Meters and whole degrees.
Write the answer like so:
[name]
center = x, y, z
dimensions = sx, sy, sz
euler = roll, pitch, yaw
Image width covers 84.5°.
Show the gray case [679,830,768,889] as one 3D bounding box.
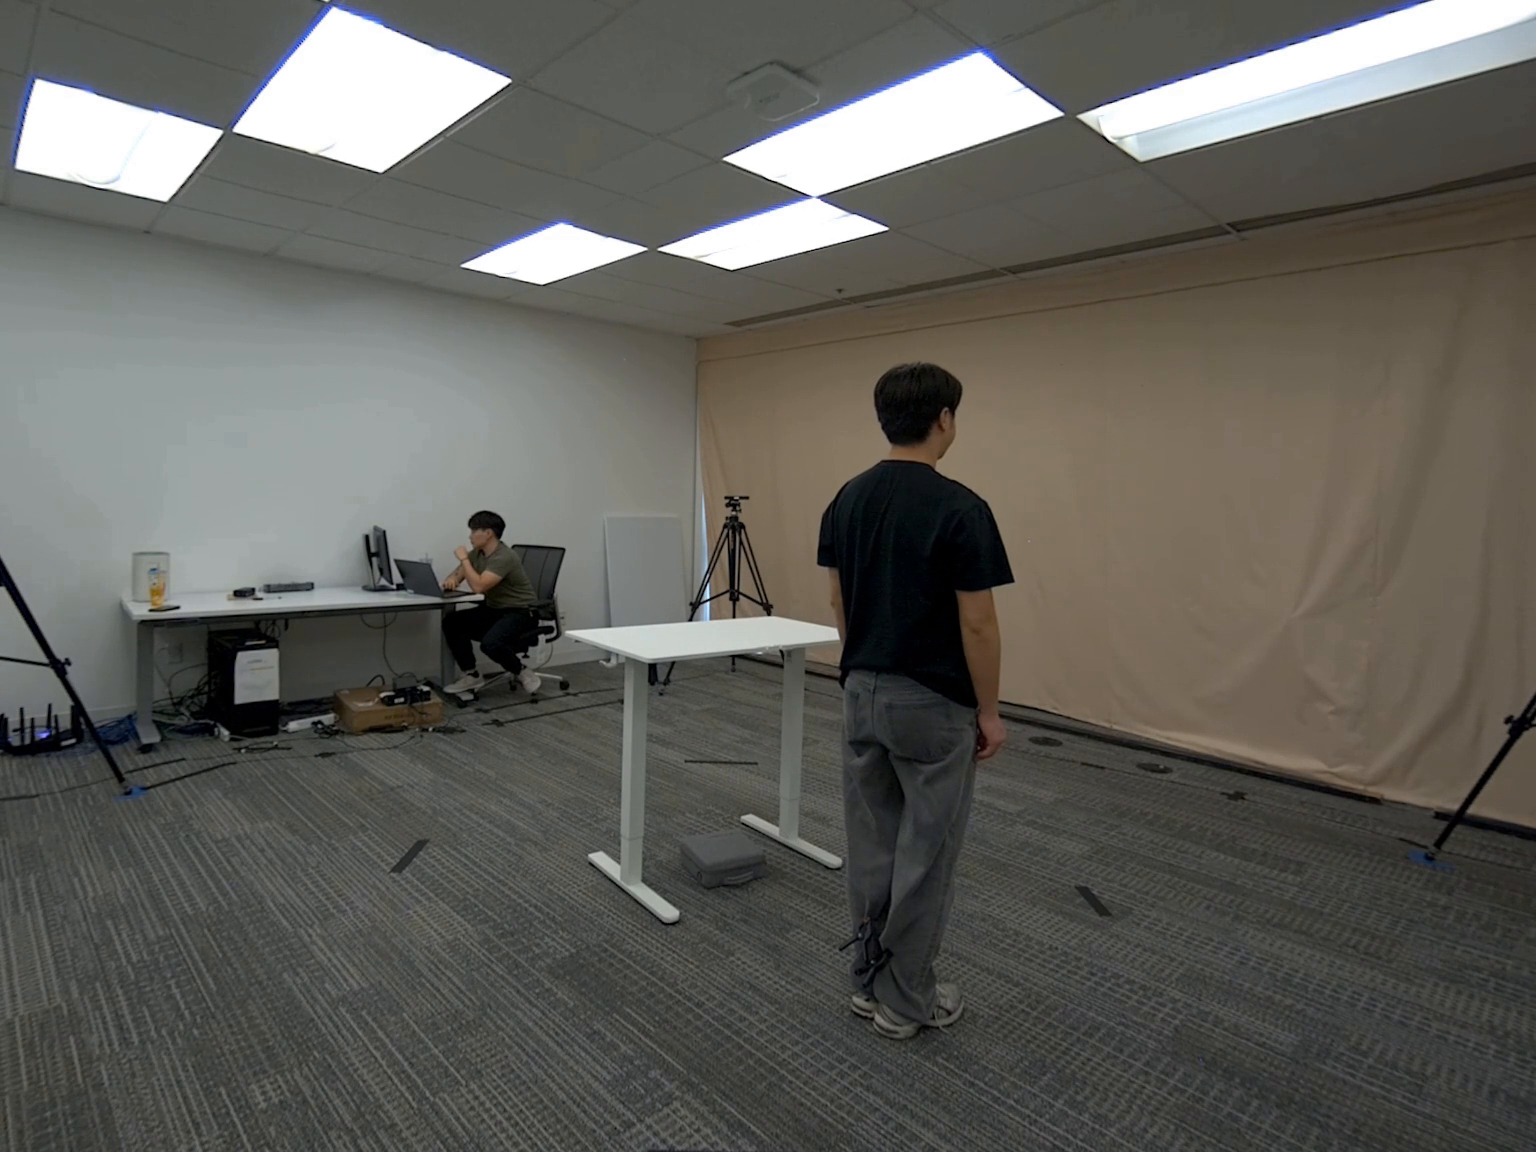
[gray case]
center = -0.181, 1.044, 3.136
dimensions = 0.258, 0.103, 0.293
euler = -2, 6, -27
